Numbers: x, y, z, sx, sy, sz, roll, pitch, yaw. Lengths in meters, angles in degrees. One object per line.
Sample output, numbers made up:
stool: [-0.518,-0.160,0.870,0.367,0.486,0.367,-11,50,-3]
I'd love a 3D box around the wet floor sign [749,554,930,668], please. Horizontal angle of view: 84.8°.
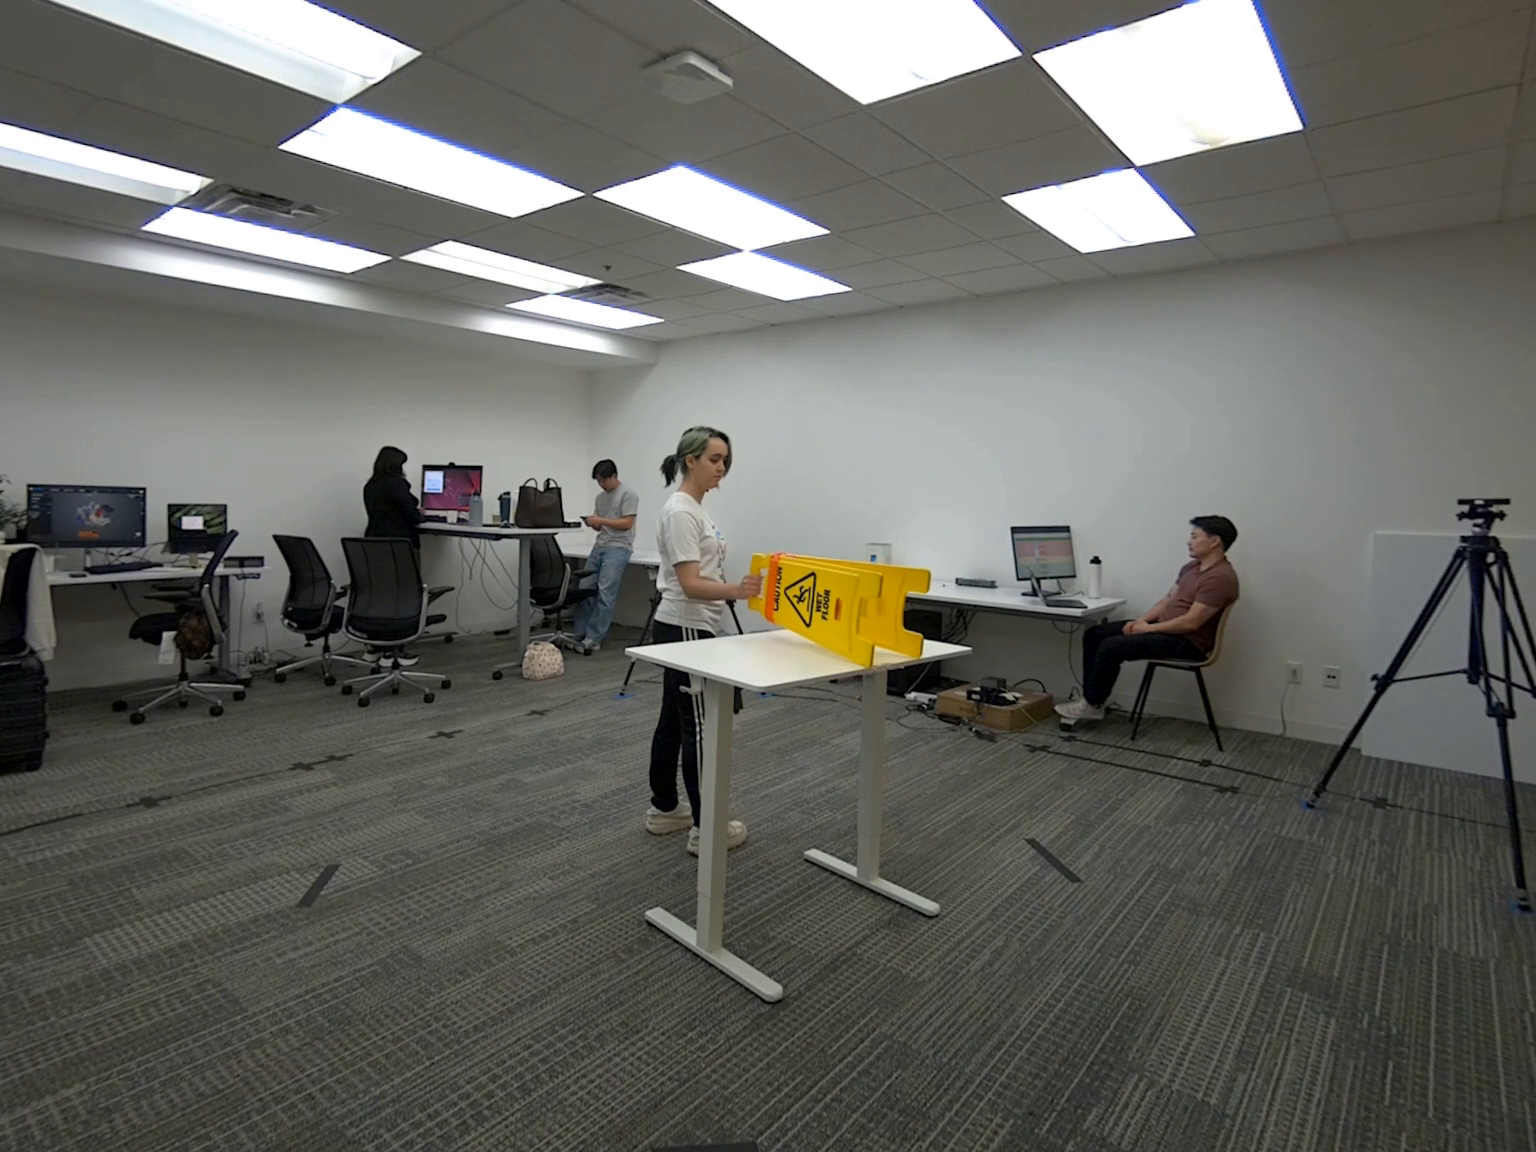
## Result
wet floor sign: [0.159,0.071,2.769,0.281,0.280,0.670,-2,11,-44]
